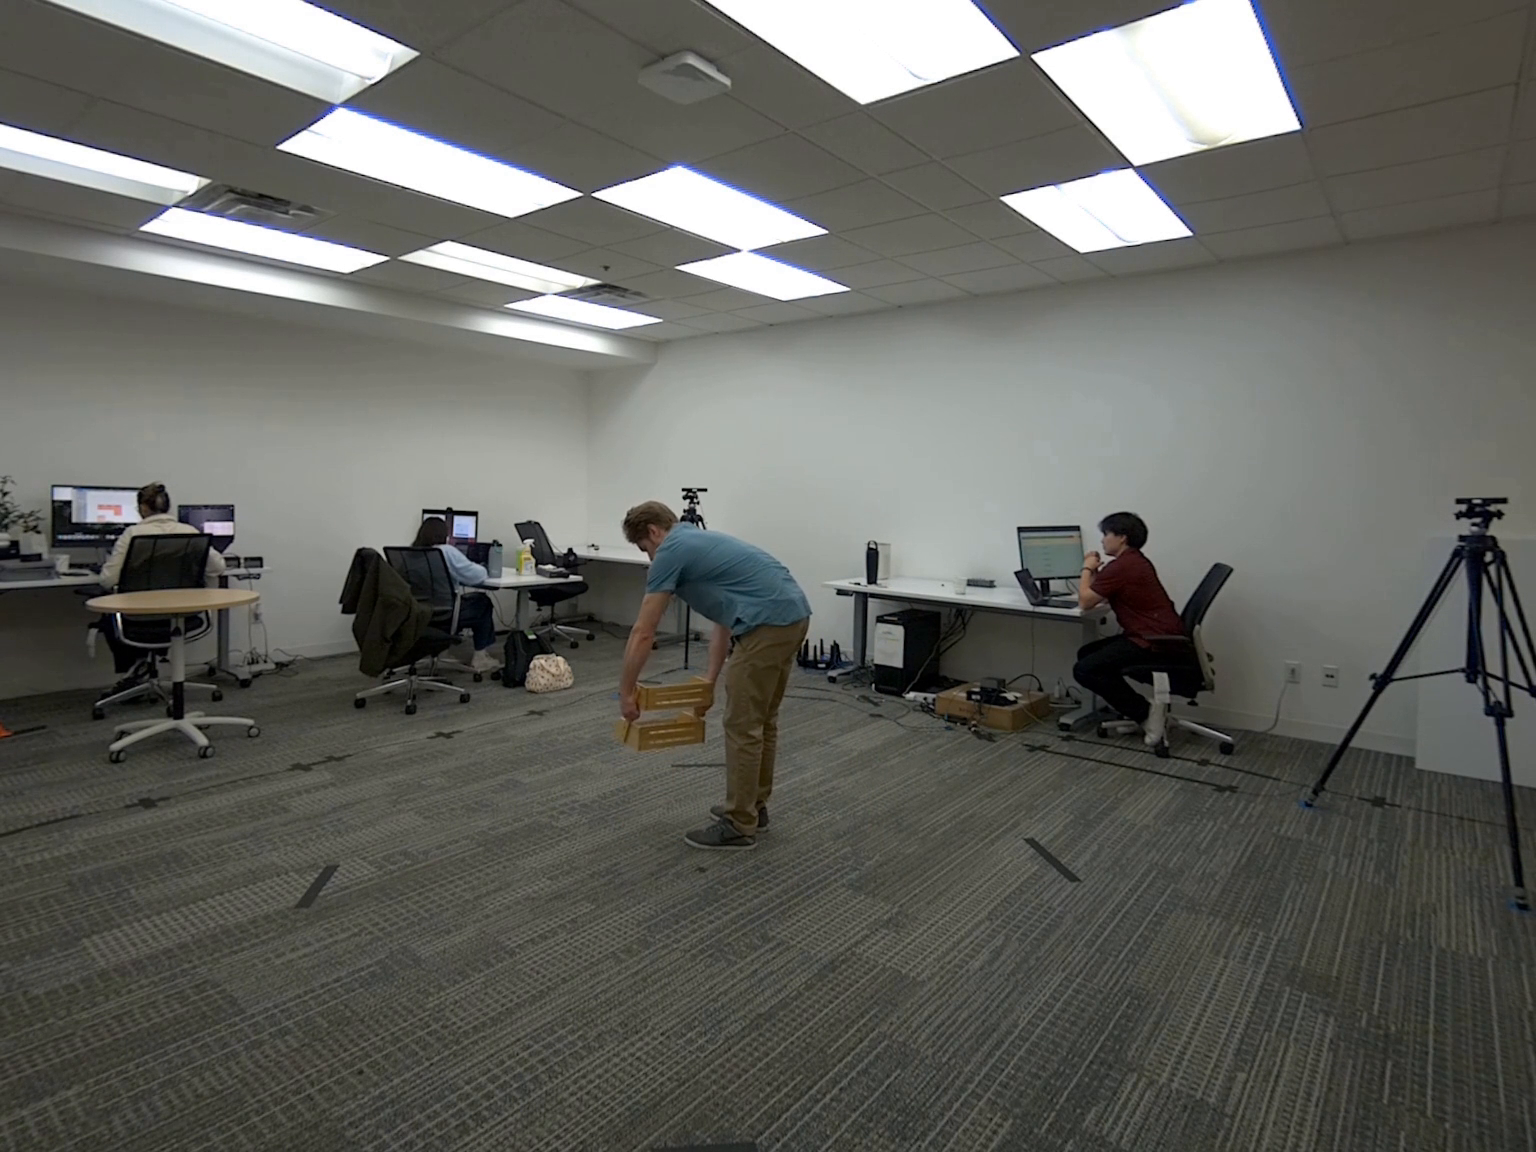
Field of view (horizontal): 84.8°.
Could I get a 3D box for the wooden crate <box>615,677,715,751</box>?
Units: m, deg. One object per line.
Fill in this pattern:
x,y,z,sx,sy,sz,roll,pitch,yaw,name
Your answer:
-0.450,0.546,3.515,0.315,0.273,0.311,0,3,-32,wooden crate
